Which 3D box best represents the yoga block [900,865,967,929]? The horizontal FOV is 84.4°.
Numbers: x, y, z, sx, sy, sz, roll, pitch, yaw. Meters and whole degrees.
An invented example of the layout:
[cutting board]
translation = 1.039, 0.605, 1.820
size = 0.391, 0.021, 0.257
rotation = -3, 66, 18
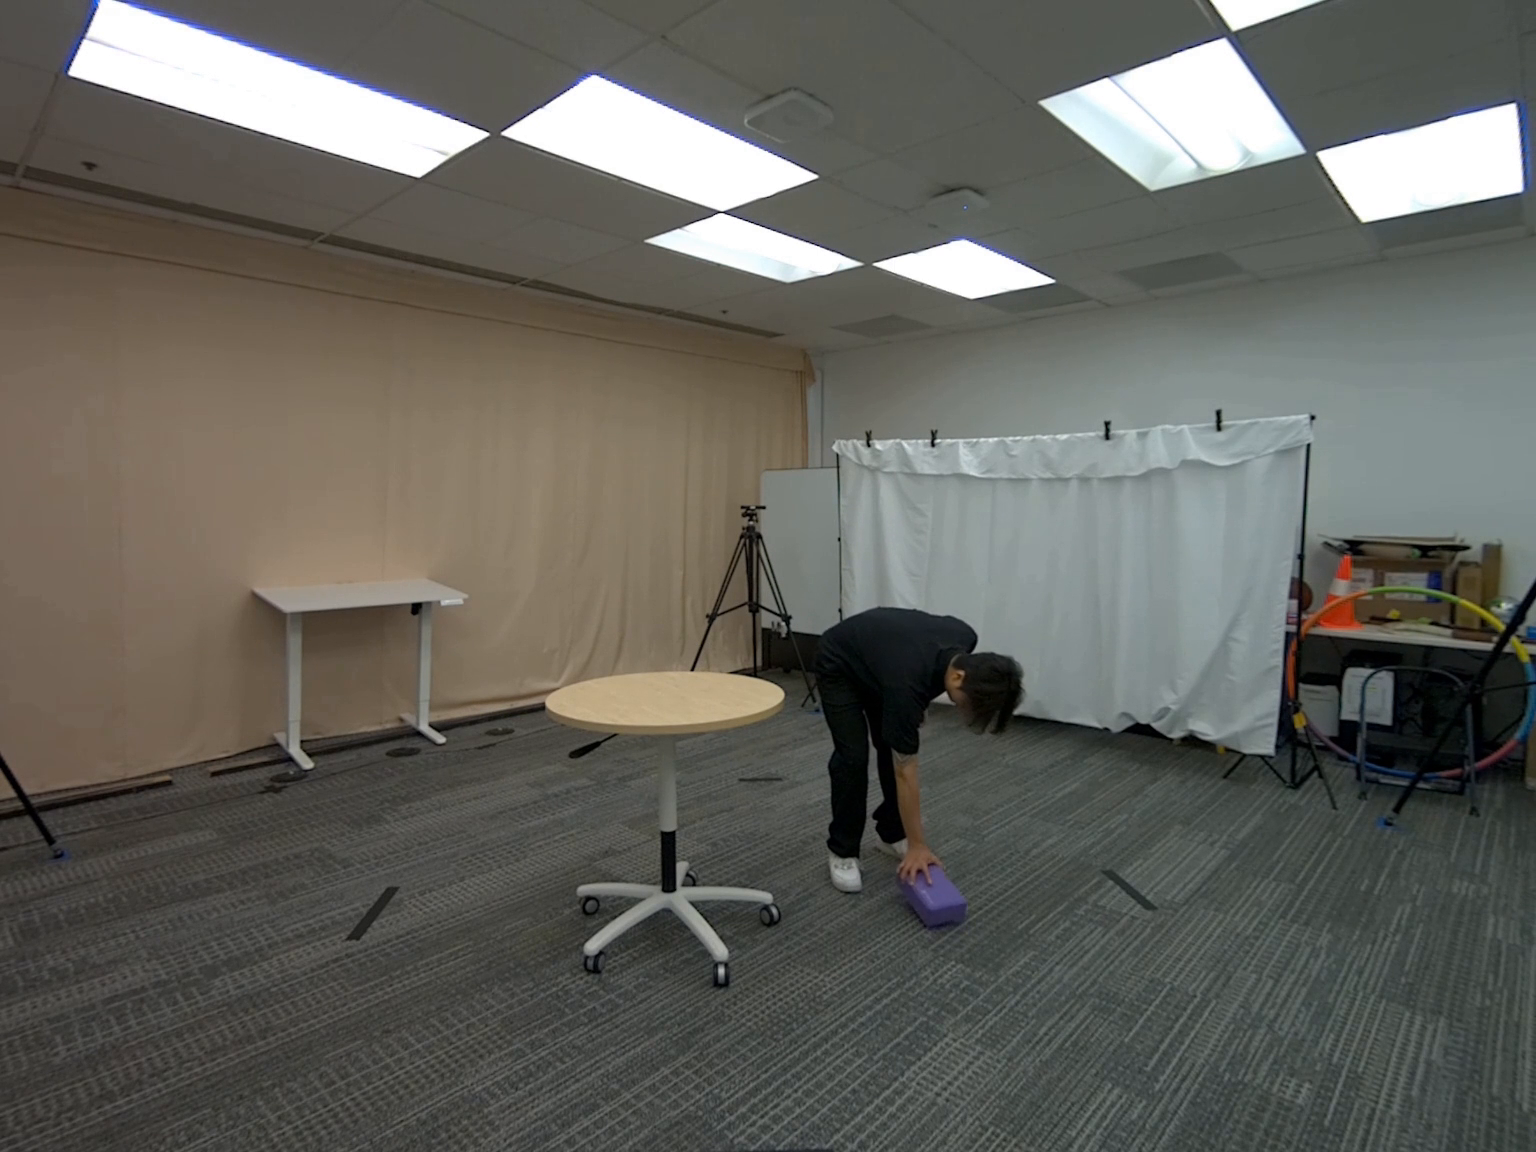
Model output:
[yoga block]
translation = 0.552, 1.069, 2.858
size = 0.147, 0.076, 0.235
rotation = -4, 17, -14
